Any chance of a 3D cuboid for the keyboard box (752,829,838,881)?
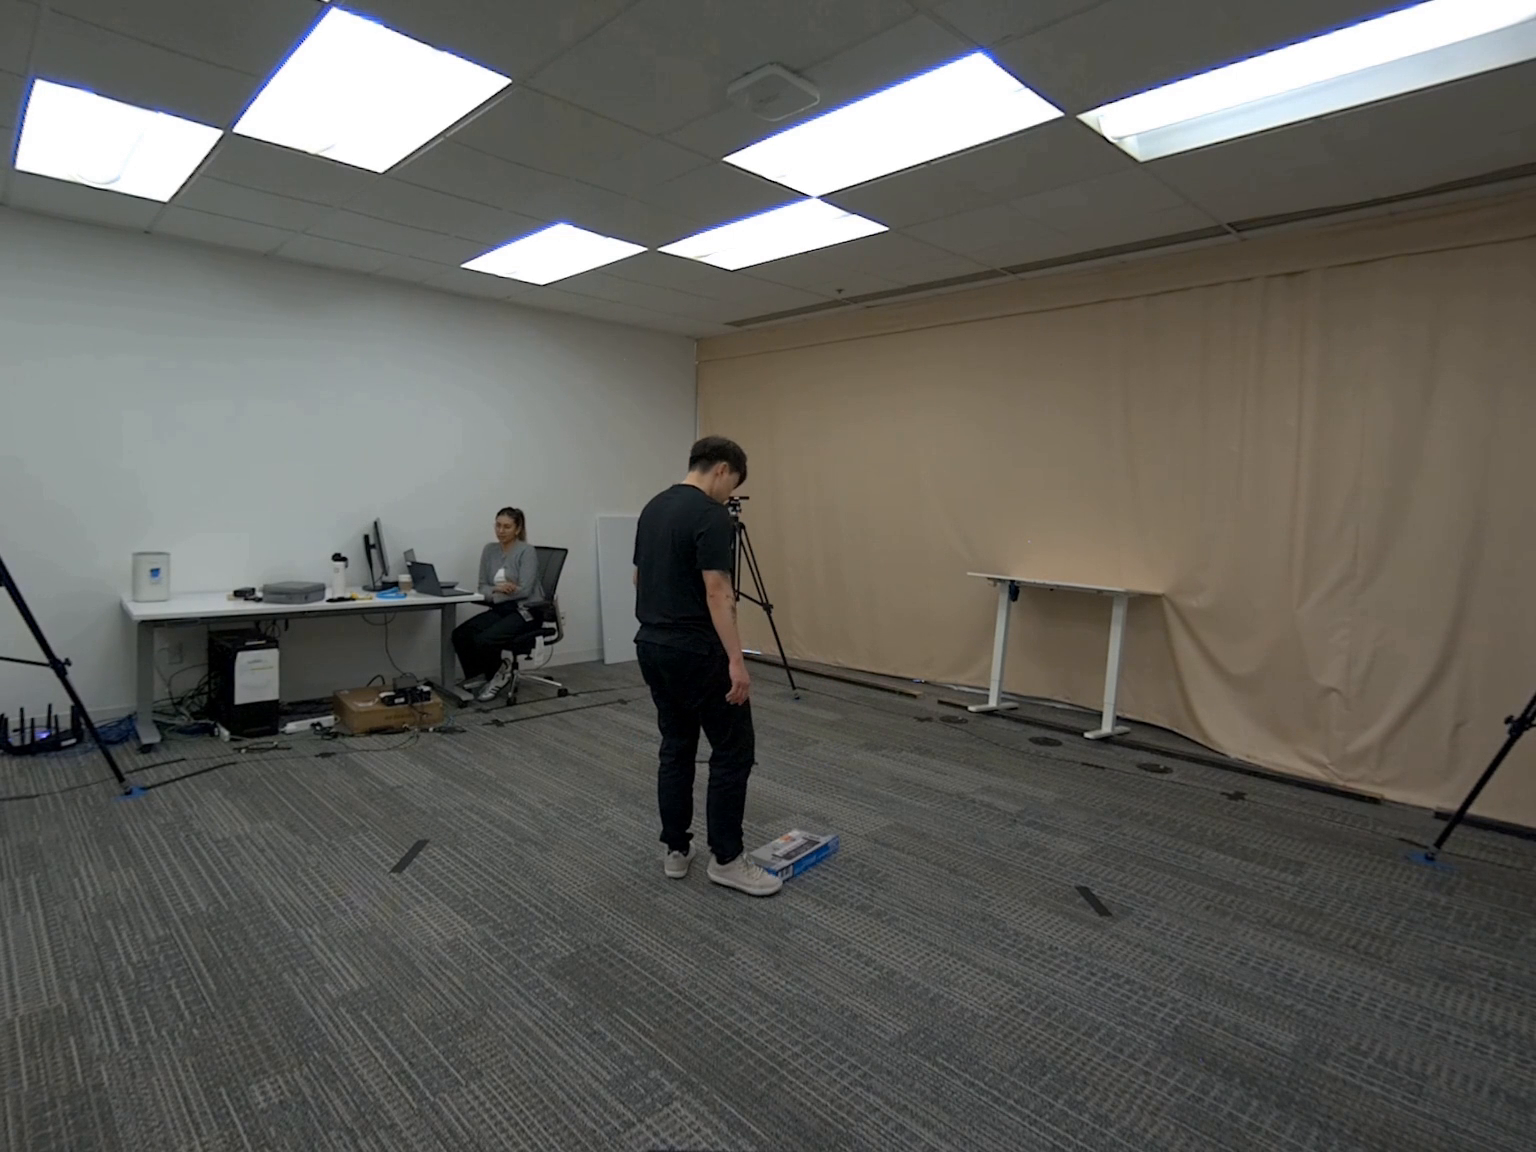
[{"bbox_3d":[0.083,1.068,3.242,0.180,0.059,0.427,4,6,36],"label":"keyboard box"}]
